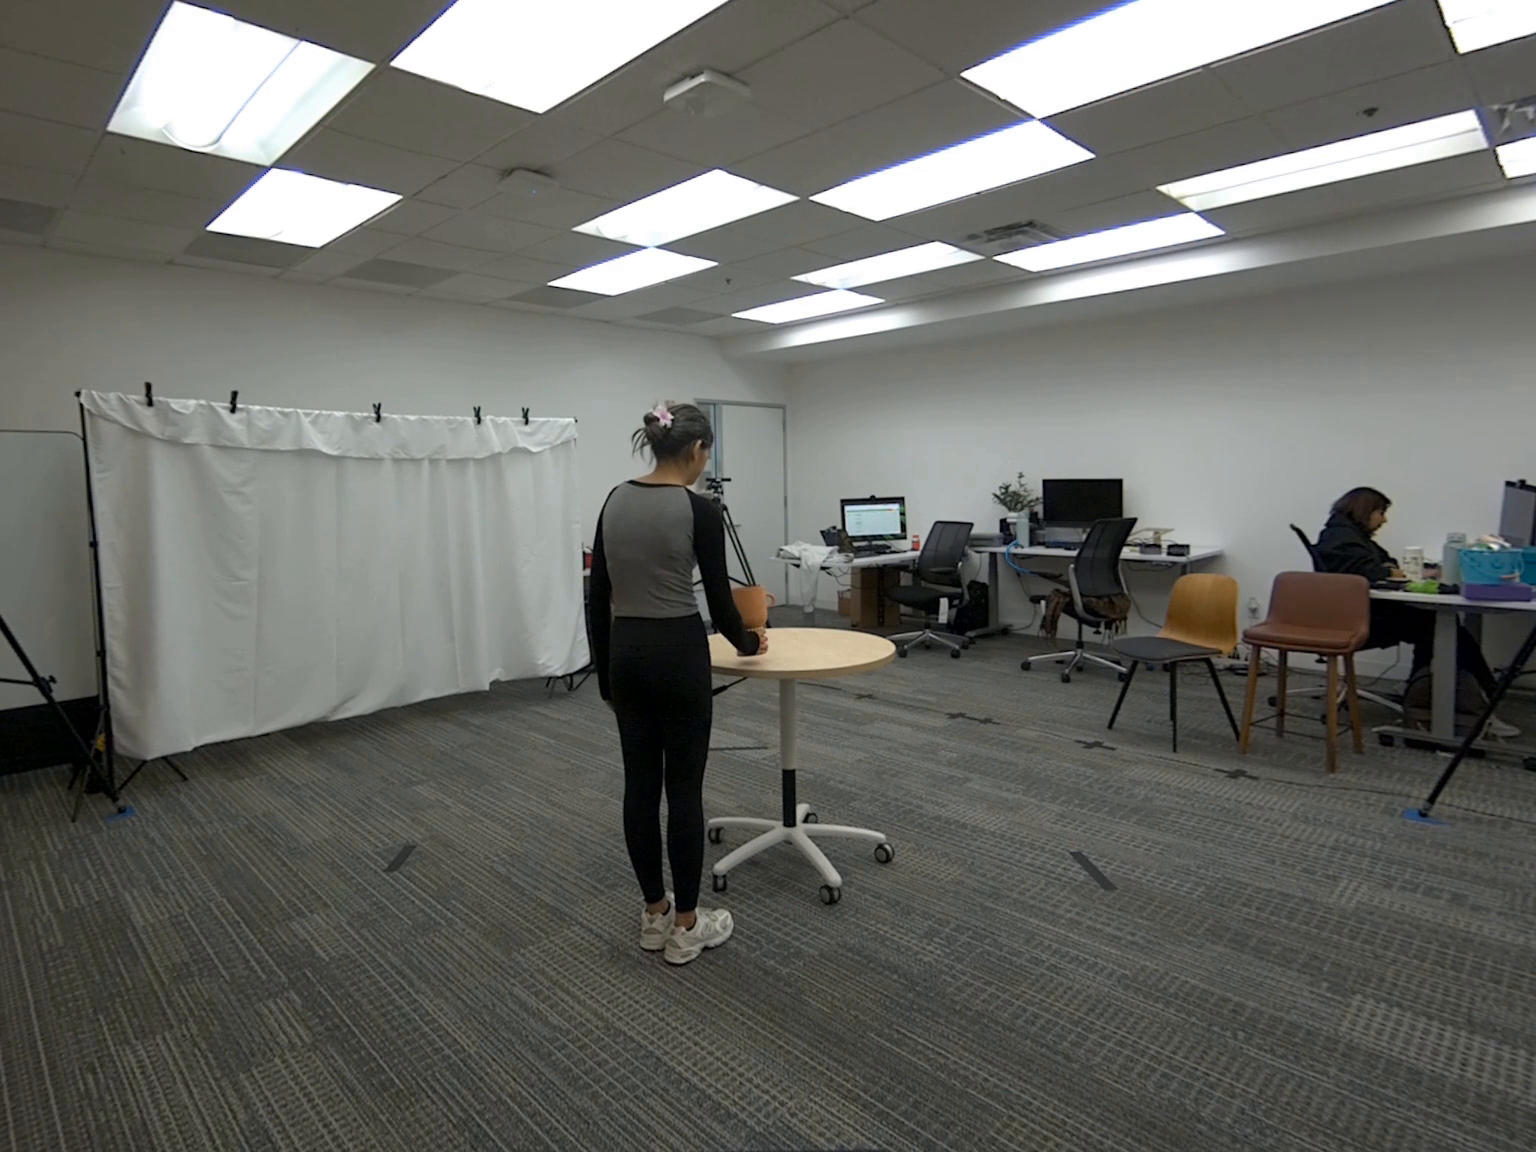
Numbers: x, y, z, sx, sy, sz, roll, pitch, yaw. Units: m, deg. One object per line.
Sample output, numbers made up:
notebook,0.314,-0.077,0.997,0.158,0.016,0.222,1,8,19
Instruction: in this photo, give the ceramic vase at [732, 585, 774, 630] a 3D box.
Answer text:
ceramic vase,-0.058,0.147,2.803,0.162,0.220,0.131,-5,-1,30
